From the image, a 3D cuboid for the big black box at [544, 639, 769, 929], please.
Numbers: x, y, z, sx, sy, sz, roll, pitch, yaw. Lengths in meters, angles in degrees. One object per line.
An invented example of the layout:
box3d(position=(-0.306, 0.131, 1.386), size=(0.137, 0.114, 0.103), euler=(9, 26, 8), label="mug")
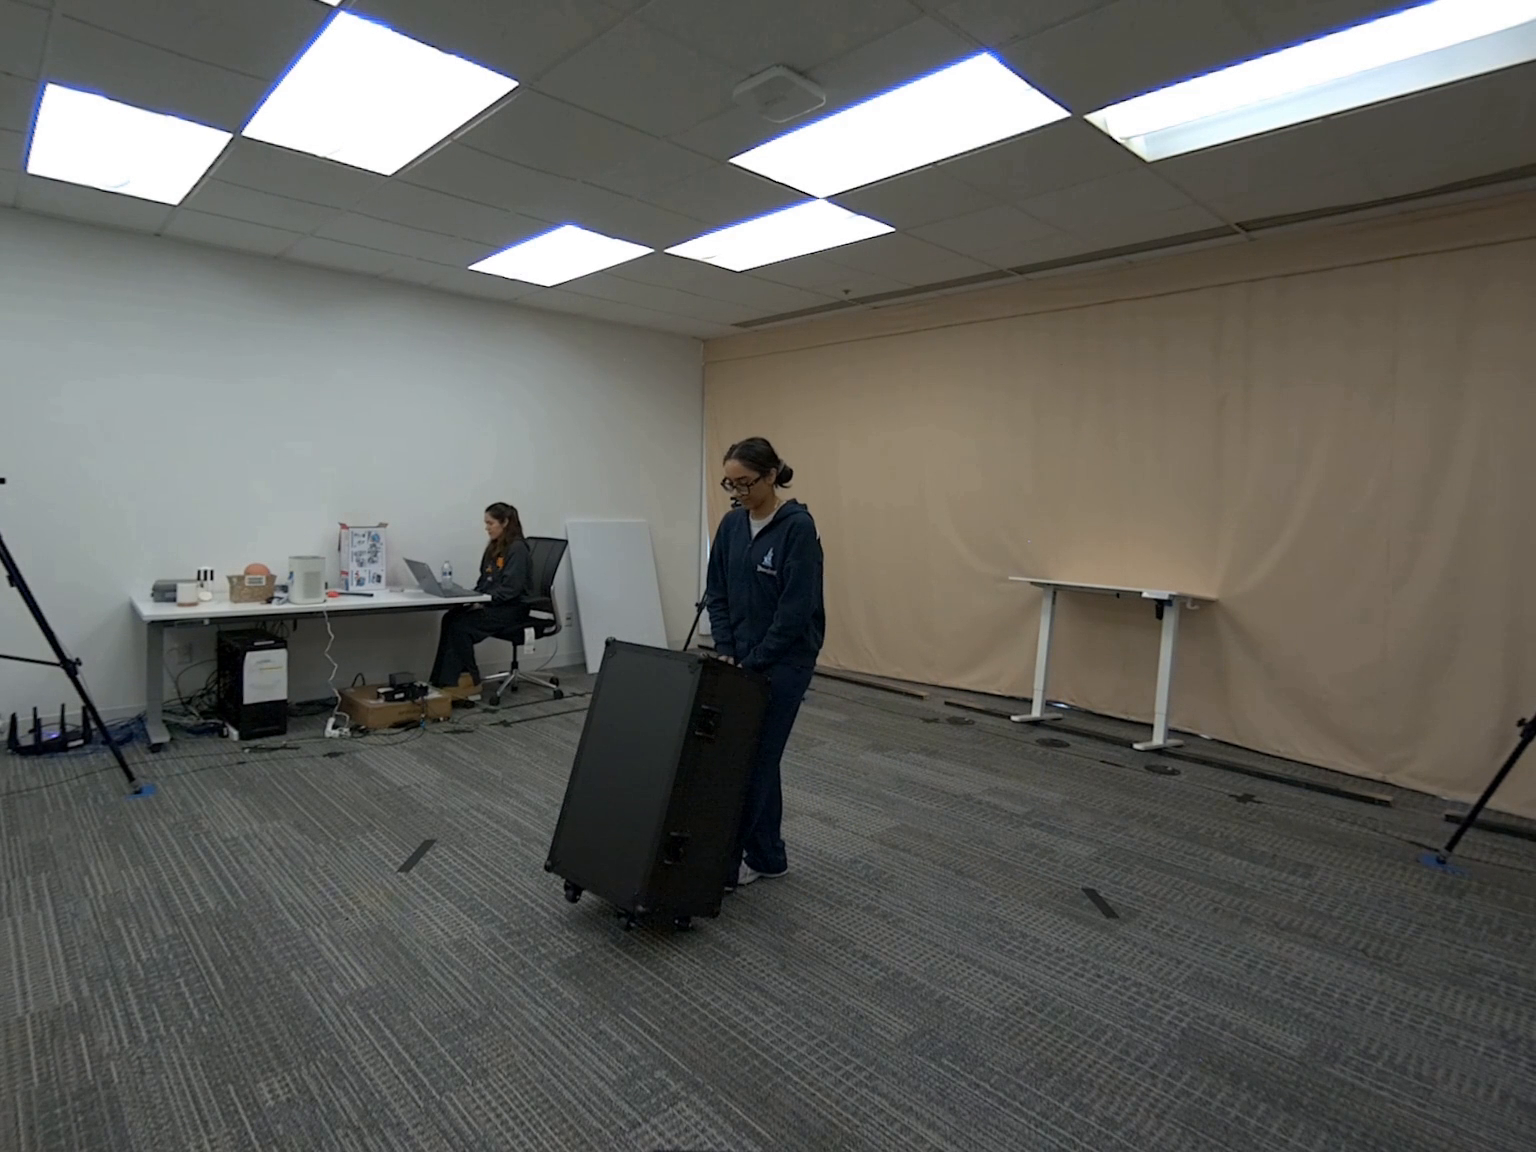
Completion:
box3d(position=(-0.372, 0.695, 2.790), size=(0.406, 0.867, 0.505), euler=(2, -15, 41), label="big black box")
